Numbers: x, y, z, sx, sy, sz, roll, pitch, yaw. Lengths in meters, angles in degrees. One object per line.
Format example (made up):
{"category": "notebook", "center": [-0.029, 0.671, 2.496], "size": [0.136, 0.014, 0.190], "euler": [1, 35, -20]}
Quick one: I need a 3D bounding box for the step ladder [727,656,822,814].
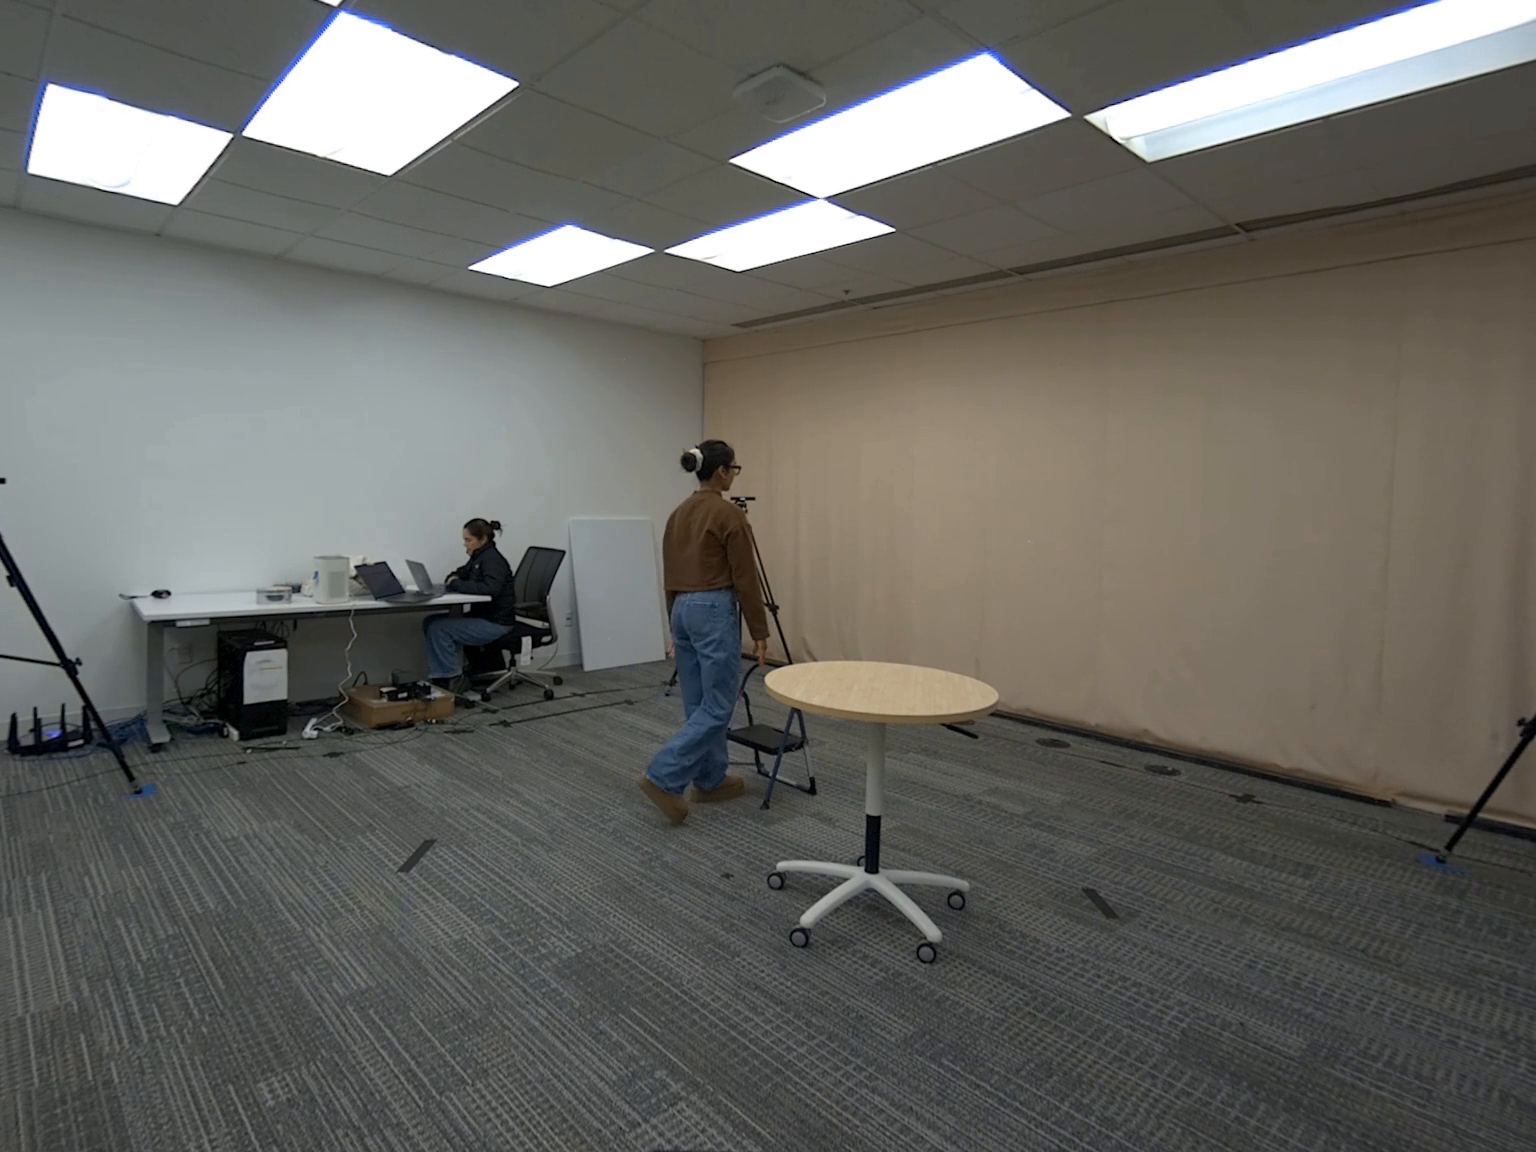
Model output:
{"category": "step ladder", "center": [-0.029, 0.733, 4.042], "size": [0.341, 0.604, 0.441], "euler": [-2, 5, -41]}
